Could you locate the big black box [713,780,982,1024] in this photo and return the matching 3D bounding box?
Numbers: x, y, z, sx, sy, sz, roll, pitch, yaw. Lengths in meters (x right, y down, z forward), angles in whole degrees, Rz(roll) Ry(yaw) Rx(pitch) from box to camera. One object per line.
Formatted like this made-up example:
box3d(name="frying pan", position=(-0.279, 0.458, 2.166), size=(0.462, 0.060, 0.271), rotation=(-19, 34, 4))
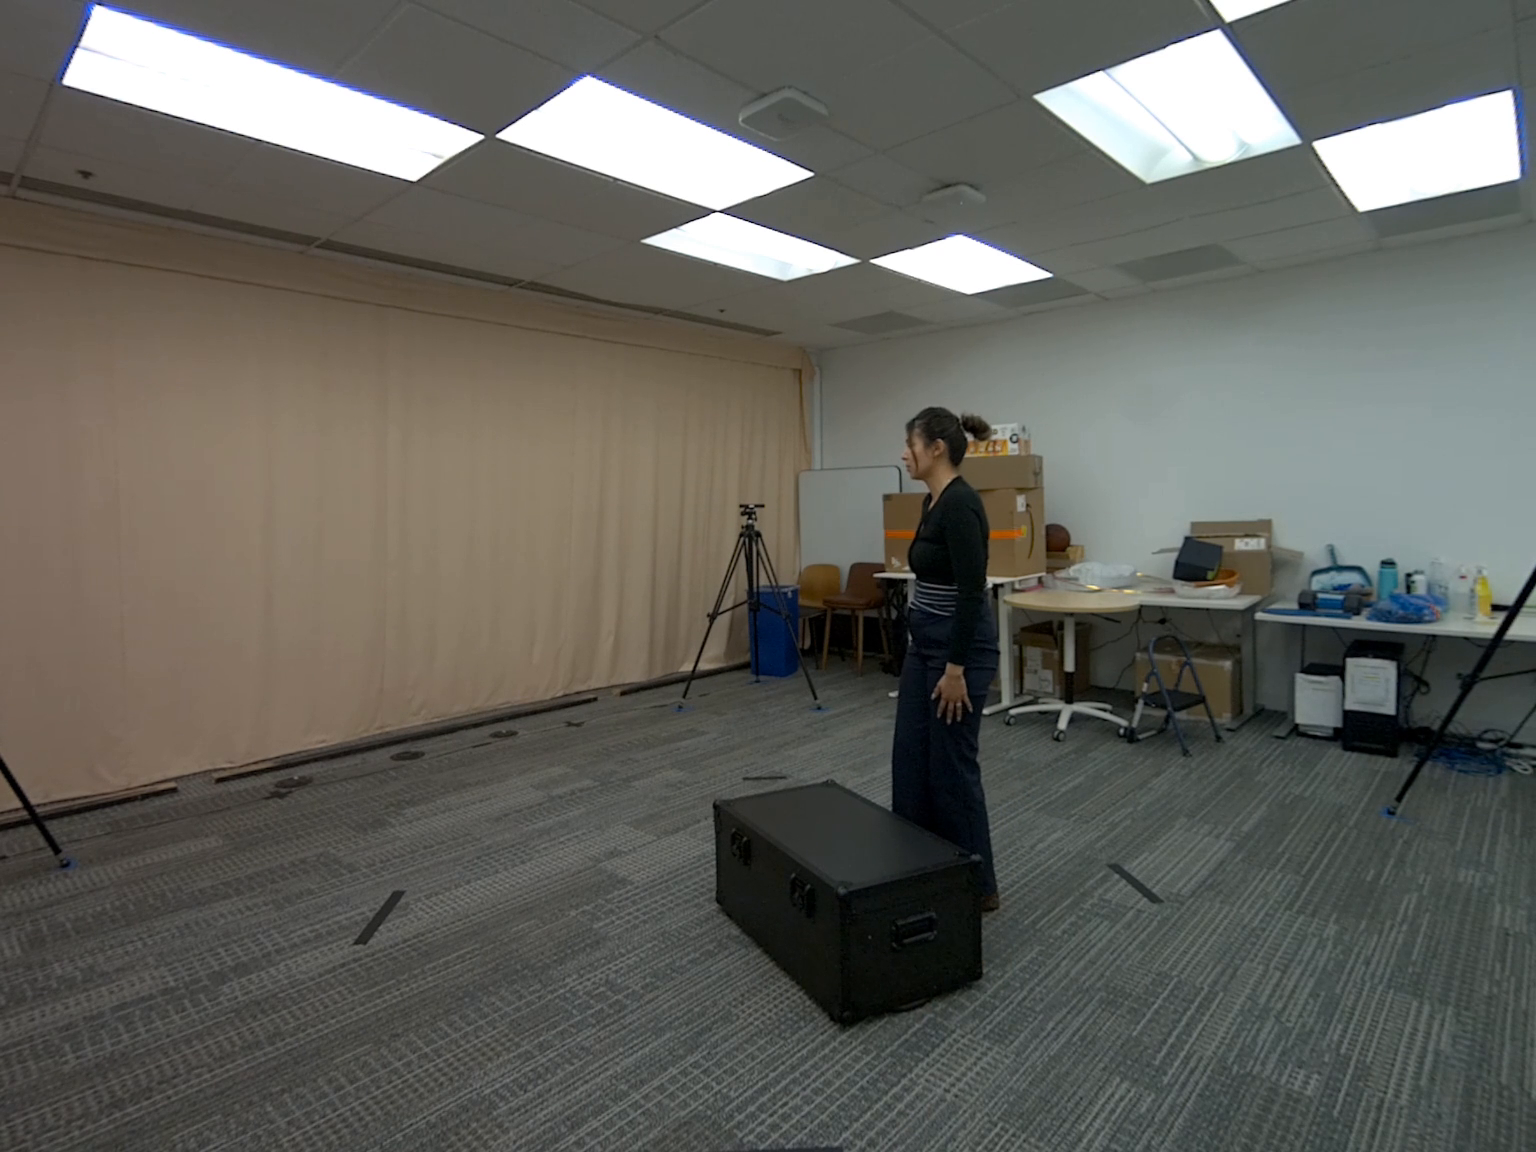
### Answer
box3d(name="big black box", position=(0.230, 0.977, 2.628), size=(0.508, 0.395, 0.885), rotation=(-3, 5, -27))
